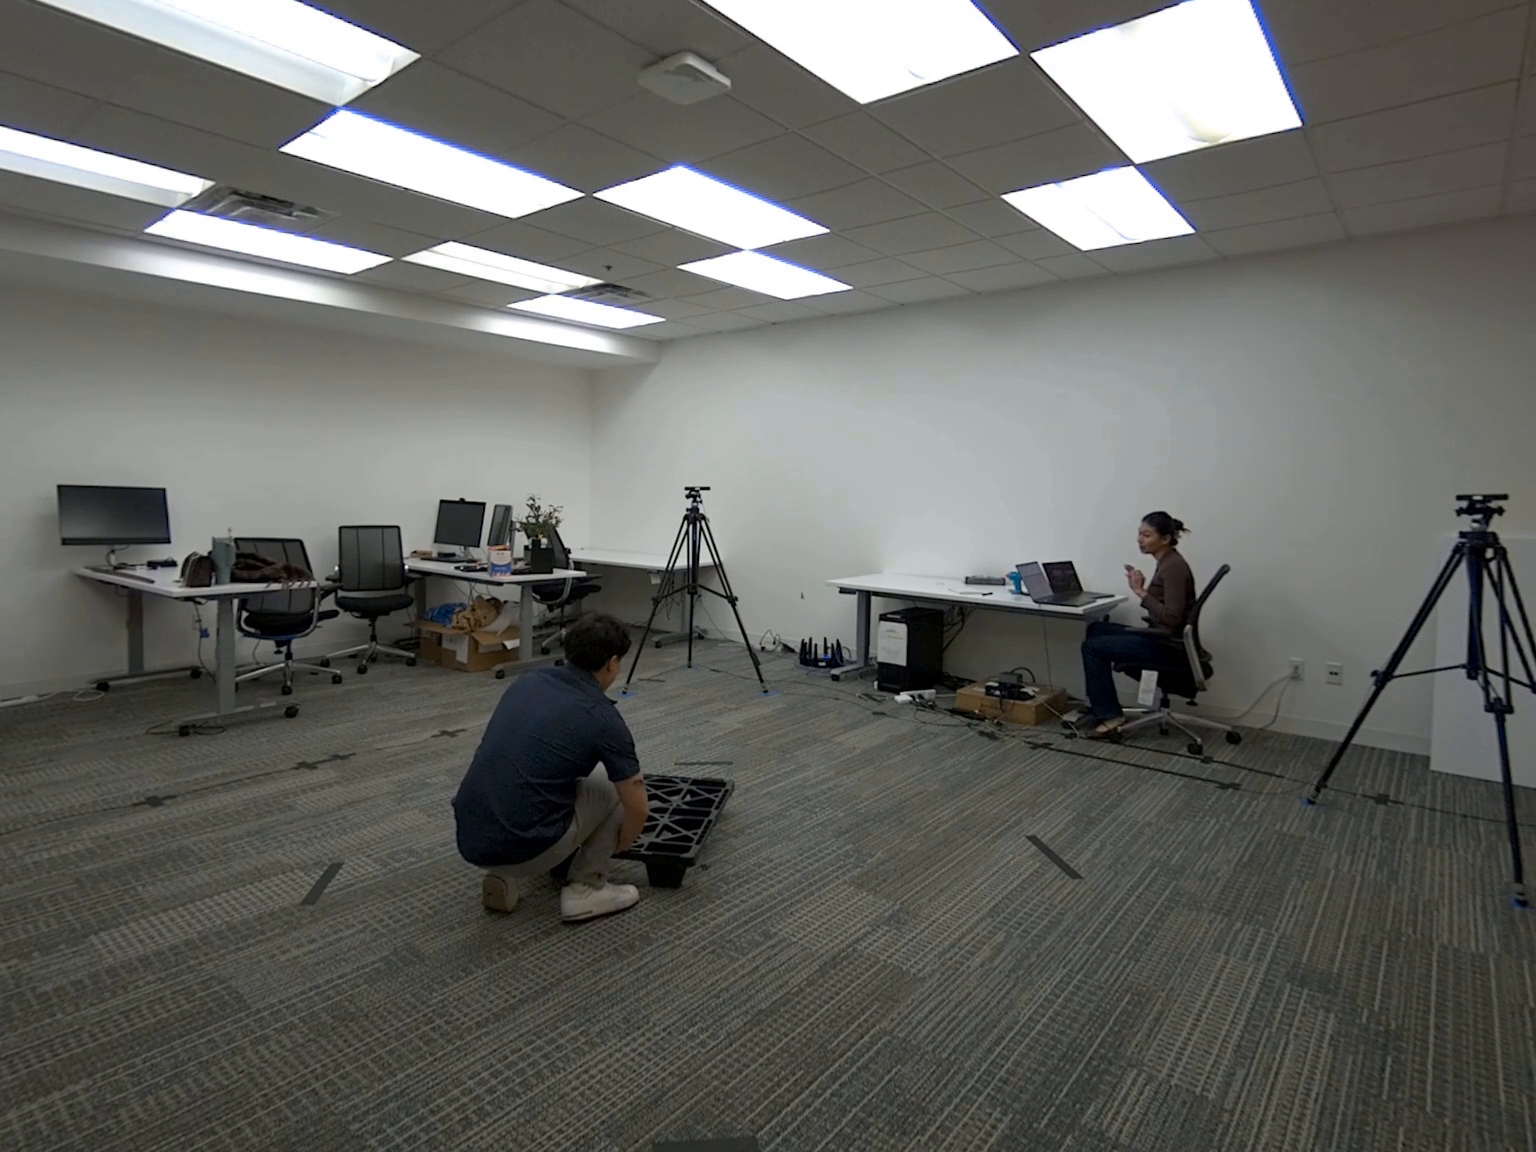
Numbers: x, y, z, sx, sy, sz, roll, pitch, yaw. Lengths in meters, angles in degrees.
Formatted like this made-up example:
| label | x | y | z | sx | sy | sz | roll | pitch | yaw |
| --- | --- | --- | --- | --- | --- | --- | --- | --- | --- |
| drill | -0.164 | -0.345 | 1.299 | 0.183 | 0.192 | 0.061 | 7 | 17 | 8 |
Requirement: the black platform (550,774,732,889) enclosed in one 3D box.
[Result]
| label | x | y | z | sx | sy | sz | roll | pitch | yaw |
| --- | --- | --- | --- | --- | --- | --- | --- | --- | --- |
| black platform | -0.502 | 0.970 | 3.335 | 0.612 | 0.143 | 0.800 | 1 | 5 | 9 |
